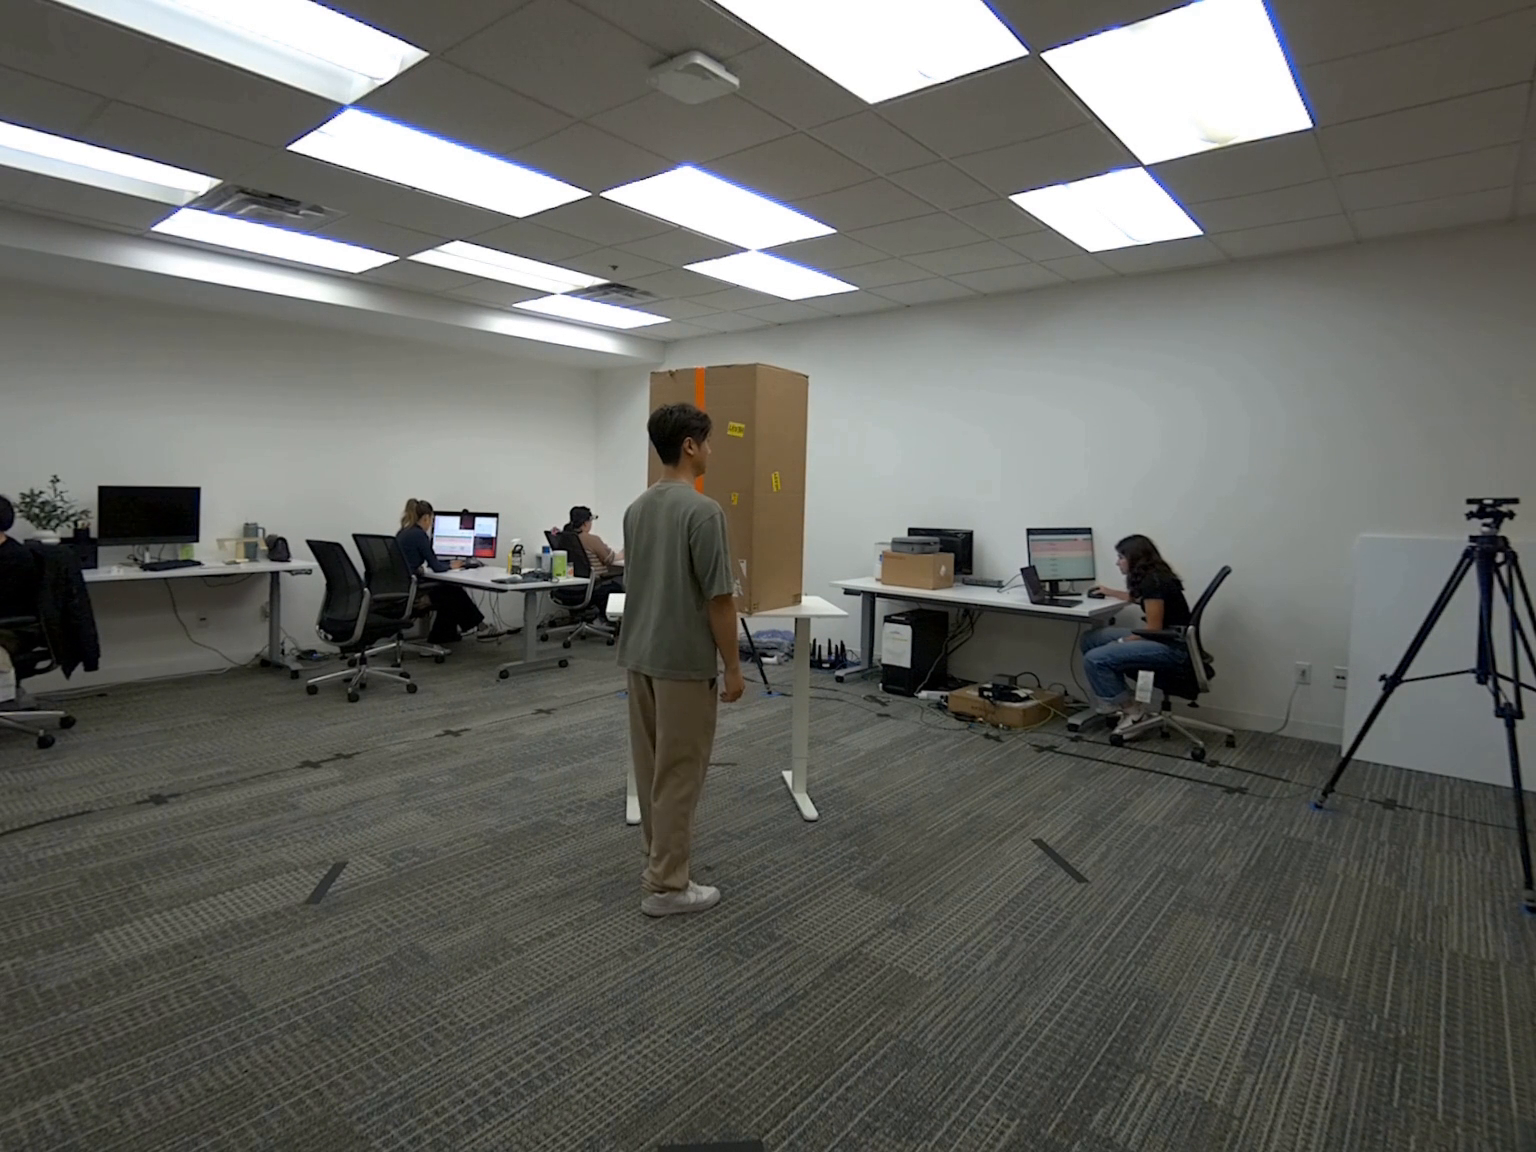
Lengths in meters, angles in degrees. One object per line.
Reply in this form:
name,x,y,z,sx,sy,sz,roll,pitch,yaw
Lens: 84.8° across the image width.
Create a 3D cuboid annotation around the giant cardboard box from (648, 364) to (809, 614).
giant cardboard box,-0.196,-0.392,3.786,0.596,1.022,0.414,4,4,35
